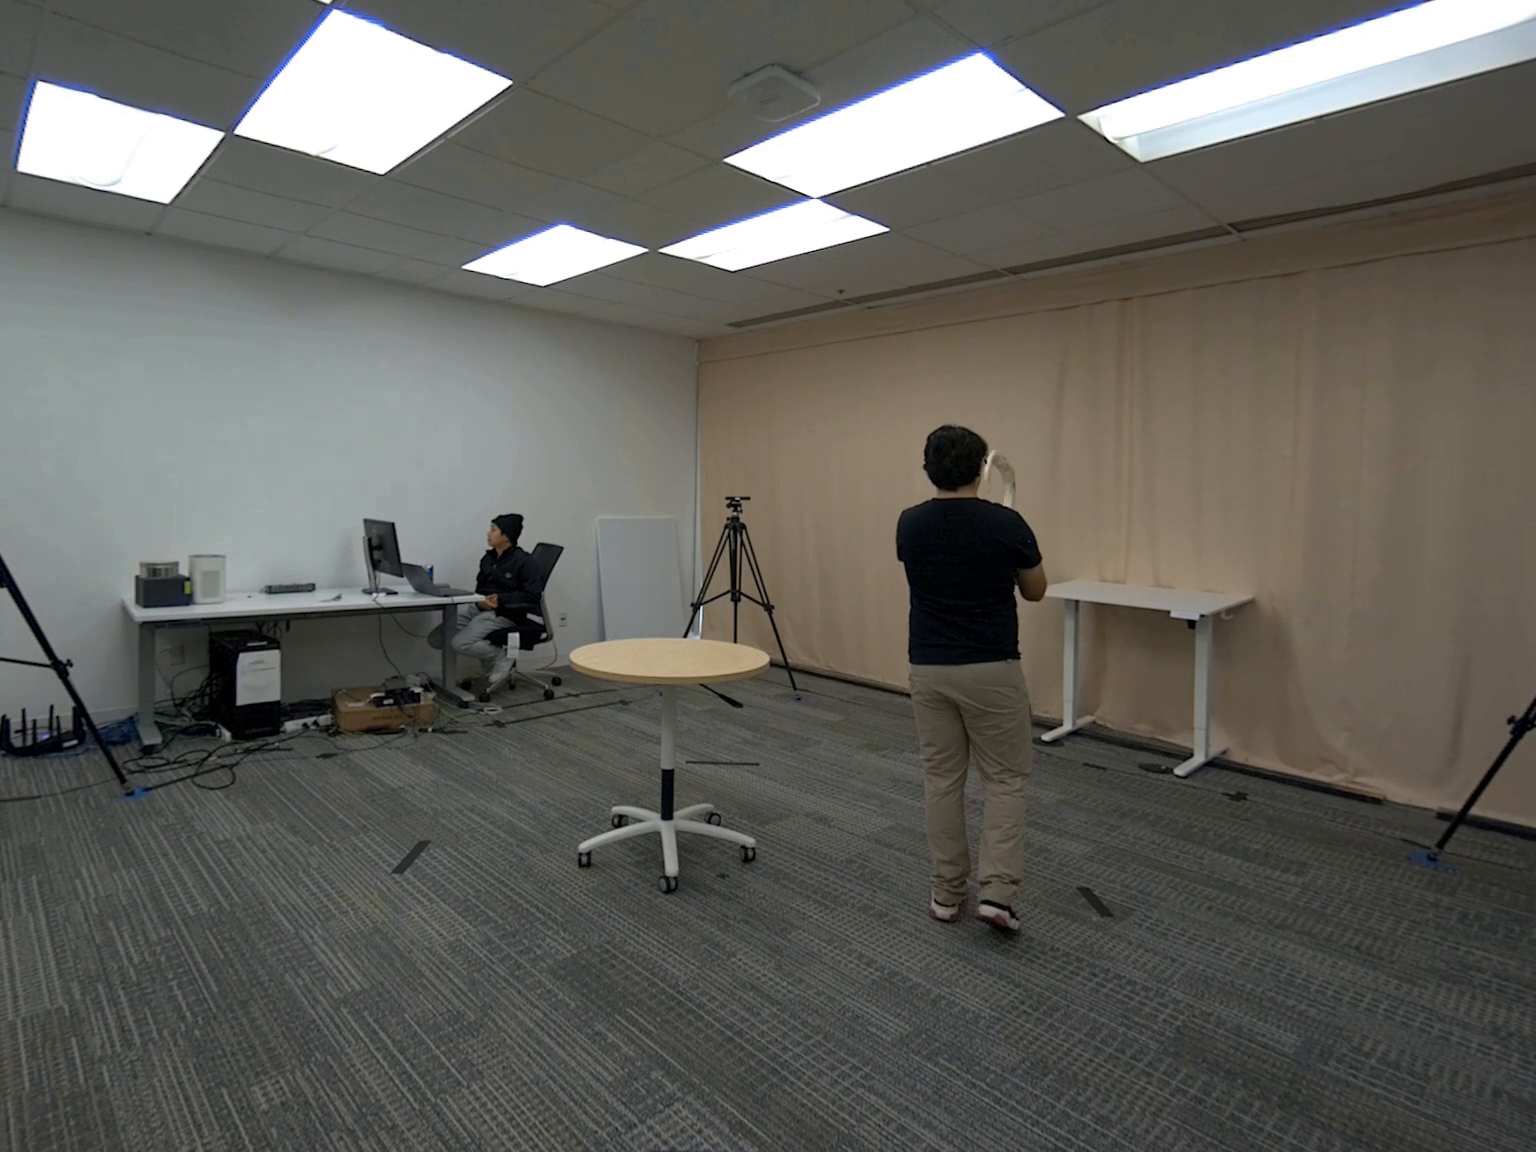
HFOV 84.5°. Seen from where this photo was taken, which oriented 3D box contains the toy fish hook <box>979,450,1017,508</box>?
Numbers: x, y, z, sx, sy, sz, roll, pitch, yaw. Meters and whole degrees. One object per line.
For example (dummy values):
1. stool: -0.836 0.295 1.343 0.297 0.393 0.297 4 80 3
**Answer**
1. toy fish hook: 0.866 -0.228 3.185 0.218 0.513 0.049 22 -25 -38
